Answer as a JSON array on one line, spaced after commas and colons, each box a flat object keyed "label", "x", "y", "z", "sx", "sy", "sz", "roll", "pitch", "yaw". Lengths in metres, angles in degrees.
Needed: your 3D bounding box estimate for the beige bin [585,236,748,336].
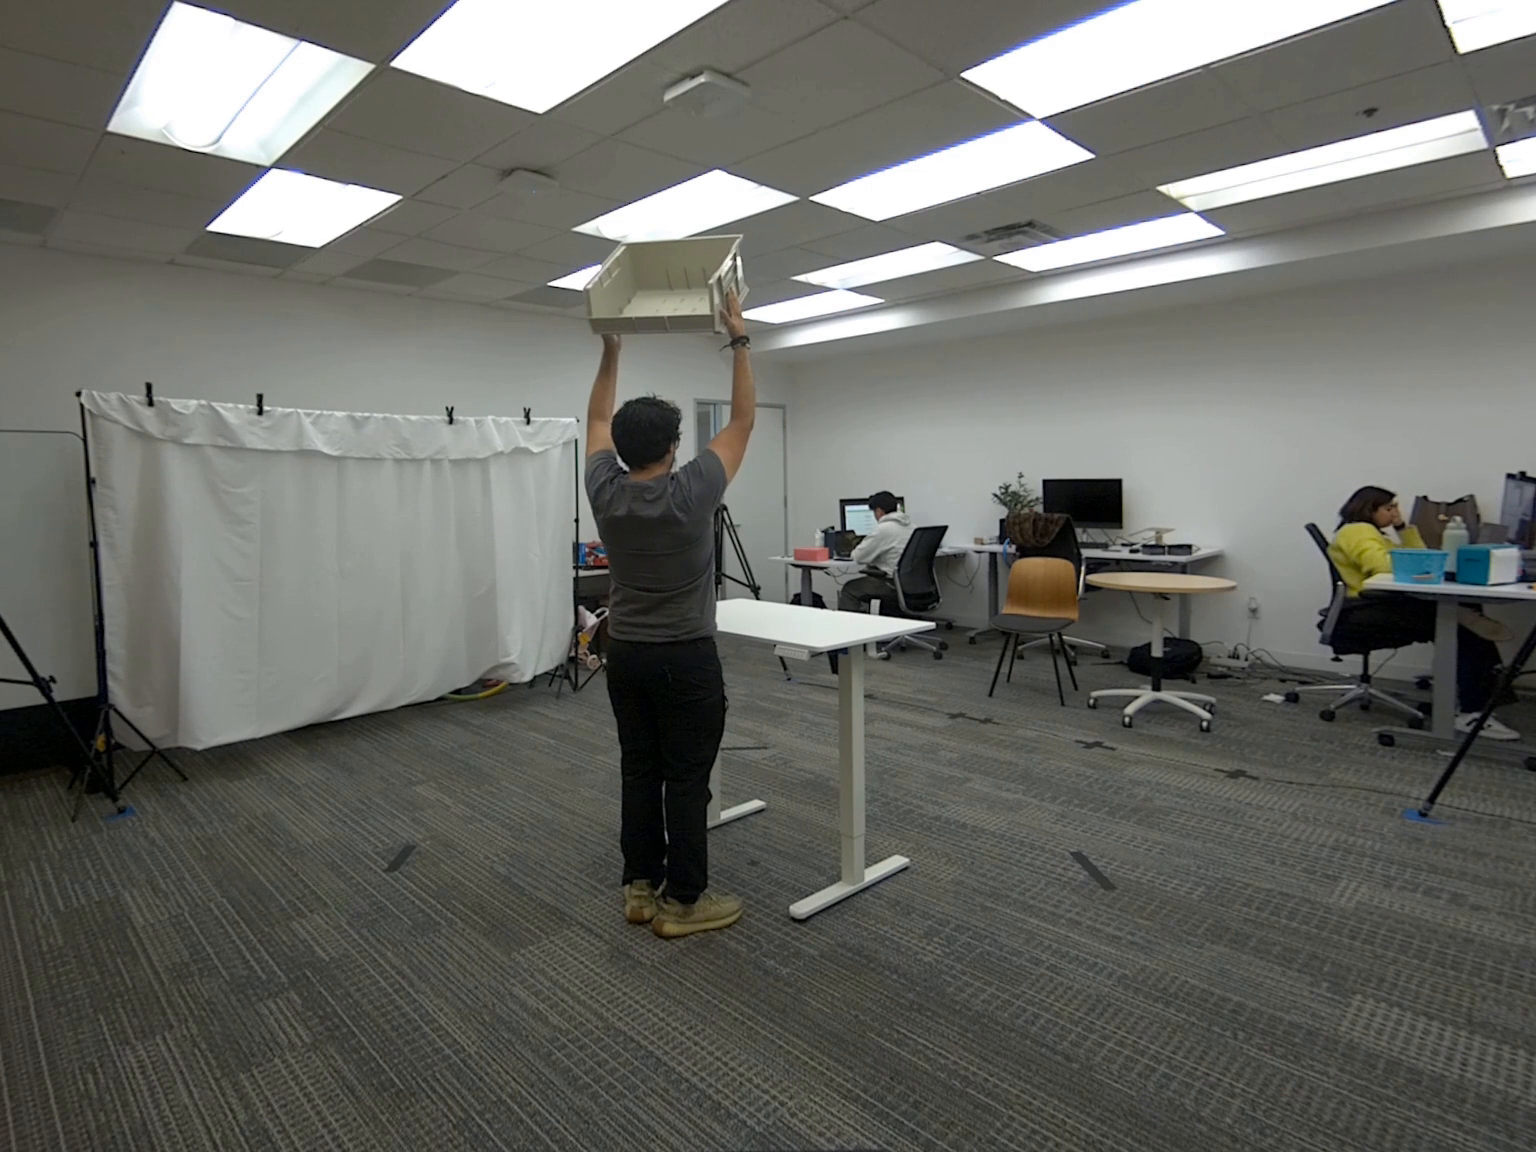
[{"label": "beige bin", "x": -0.309, "y": -0.900, "z": 2.689, "sx": 0.430, "sy": 0.183, "sz": 0.383, "roll": 3, "pitch": 41, "yaw": 17}]
